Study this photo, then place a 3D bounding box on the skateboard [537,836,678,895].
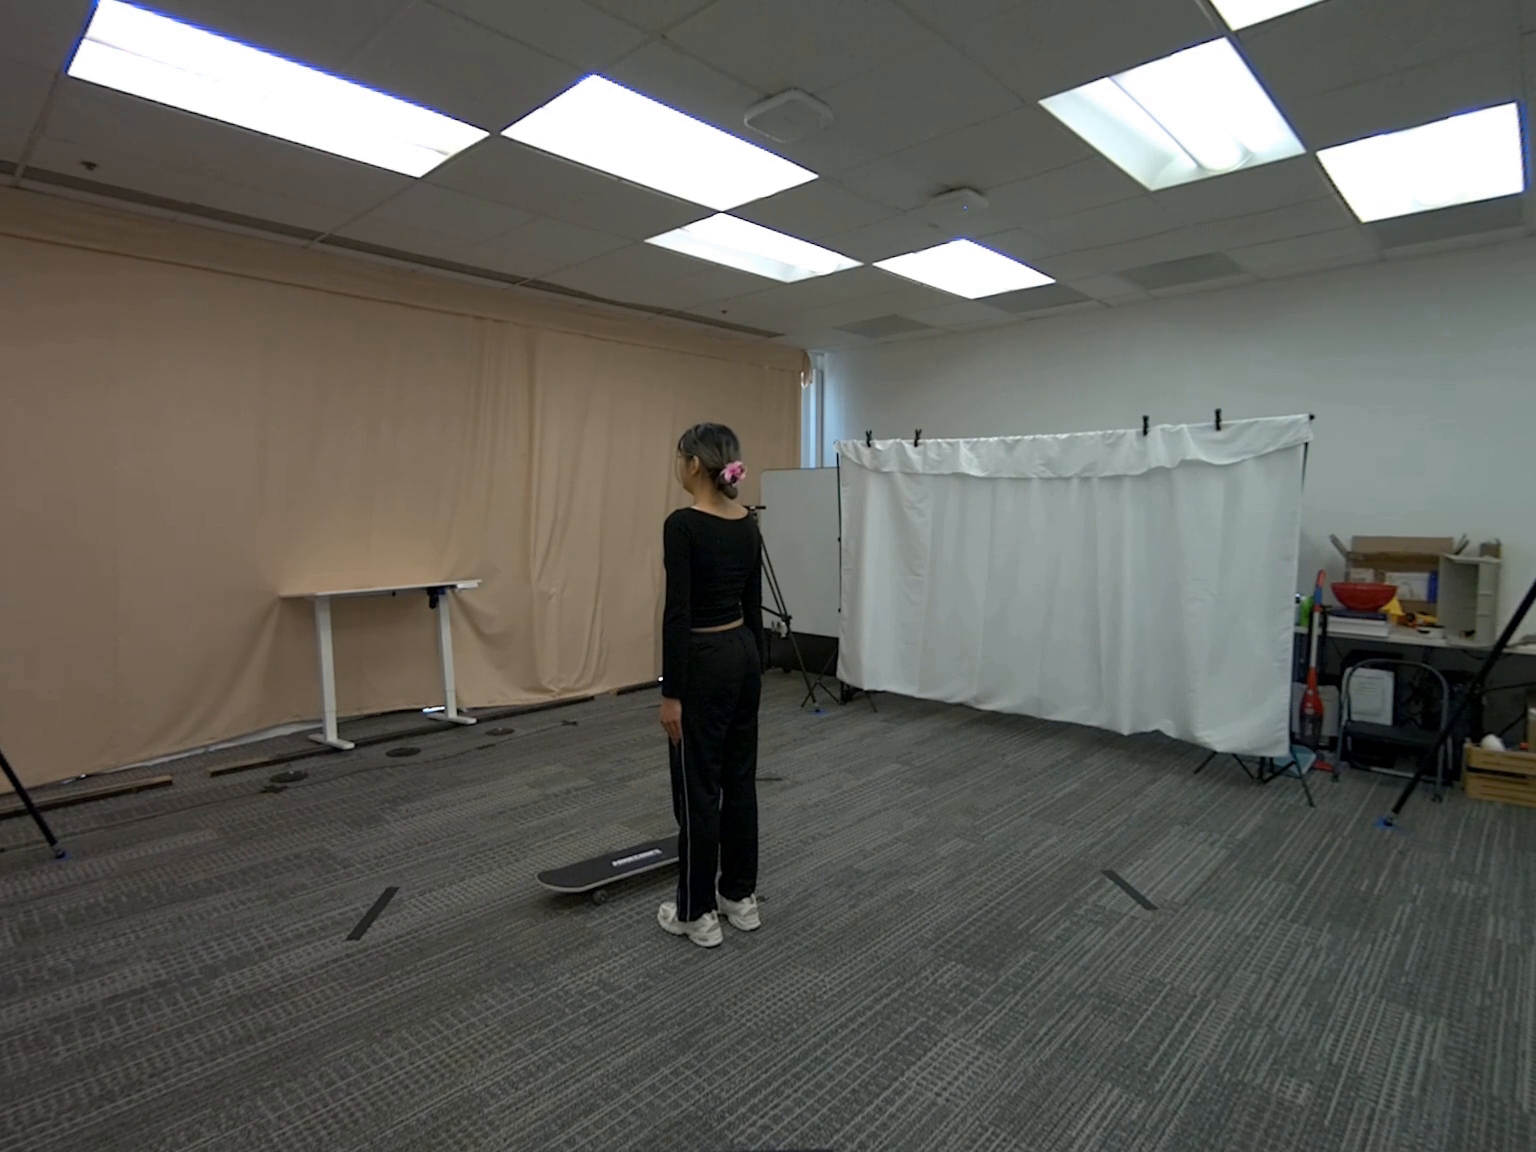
[{"bbox_3d":[-0.493,1.081,3.129,0.762,0.110,0.199,-4,5,-37],"label":"skateboard"}]
